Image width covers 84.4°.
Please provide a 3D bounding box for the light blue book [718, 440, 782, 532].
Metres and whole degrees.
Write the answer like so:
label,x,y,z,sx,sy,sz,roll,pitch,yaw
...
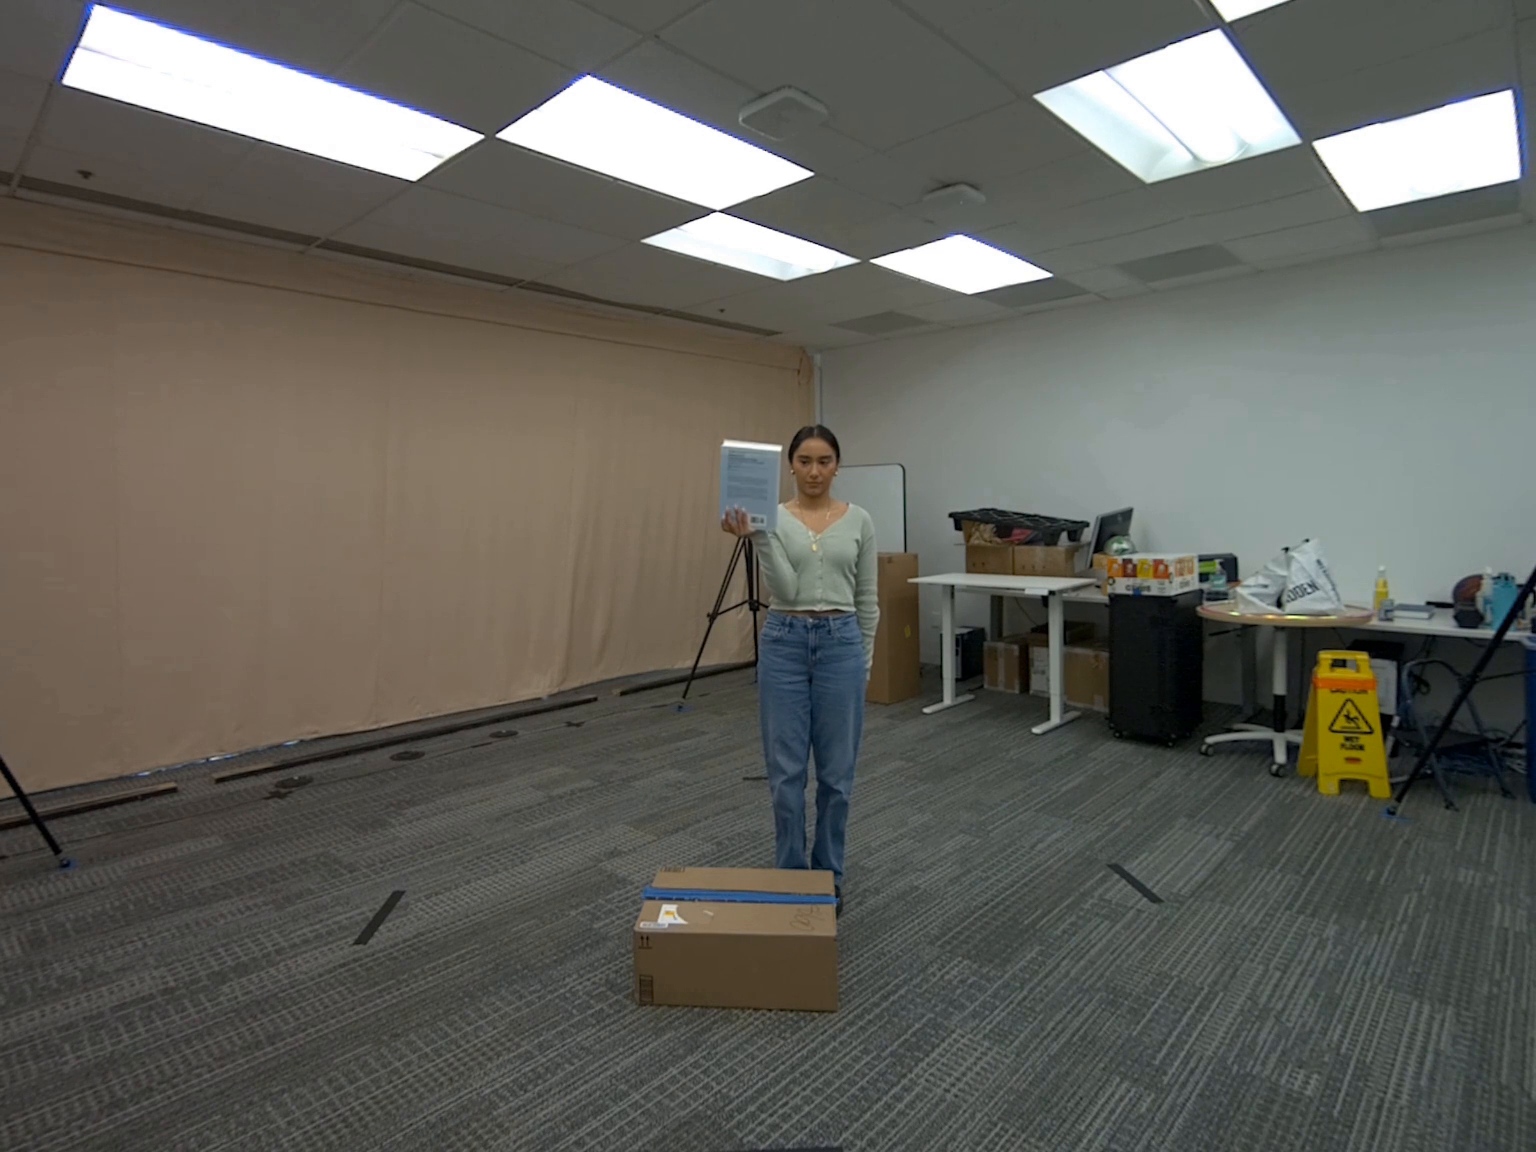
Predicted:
label,x,y,z,sx,sy,sz,roll,pitch,yaw
light blue book,-0.054,-0.276,2.613,0.193,0.258,0.059,7,22,9
